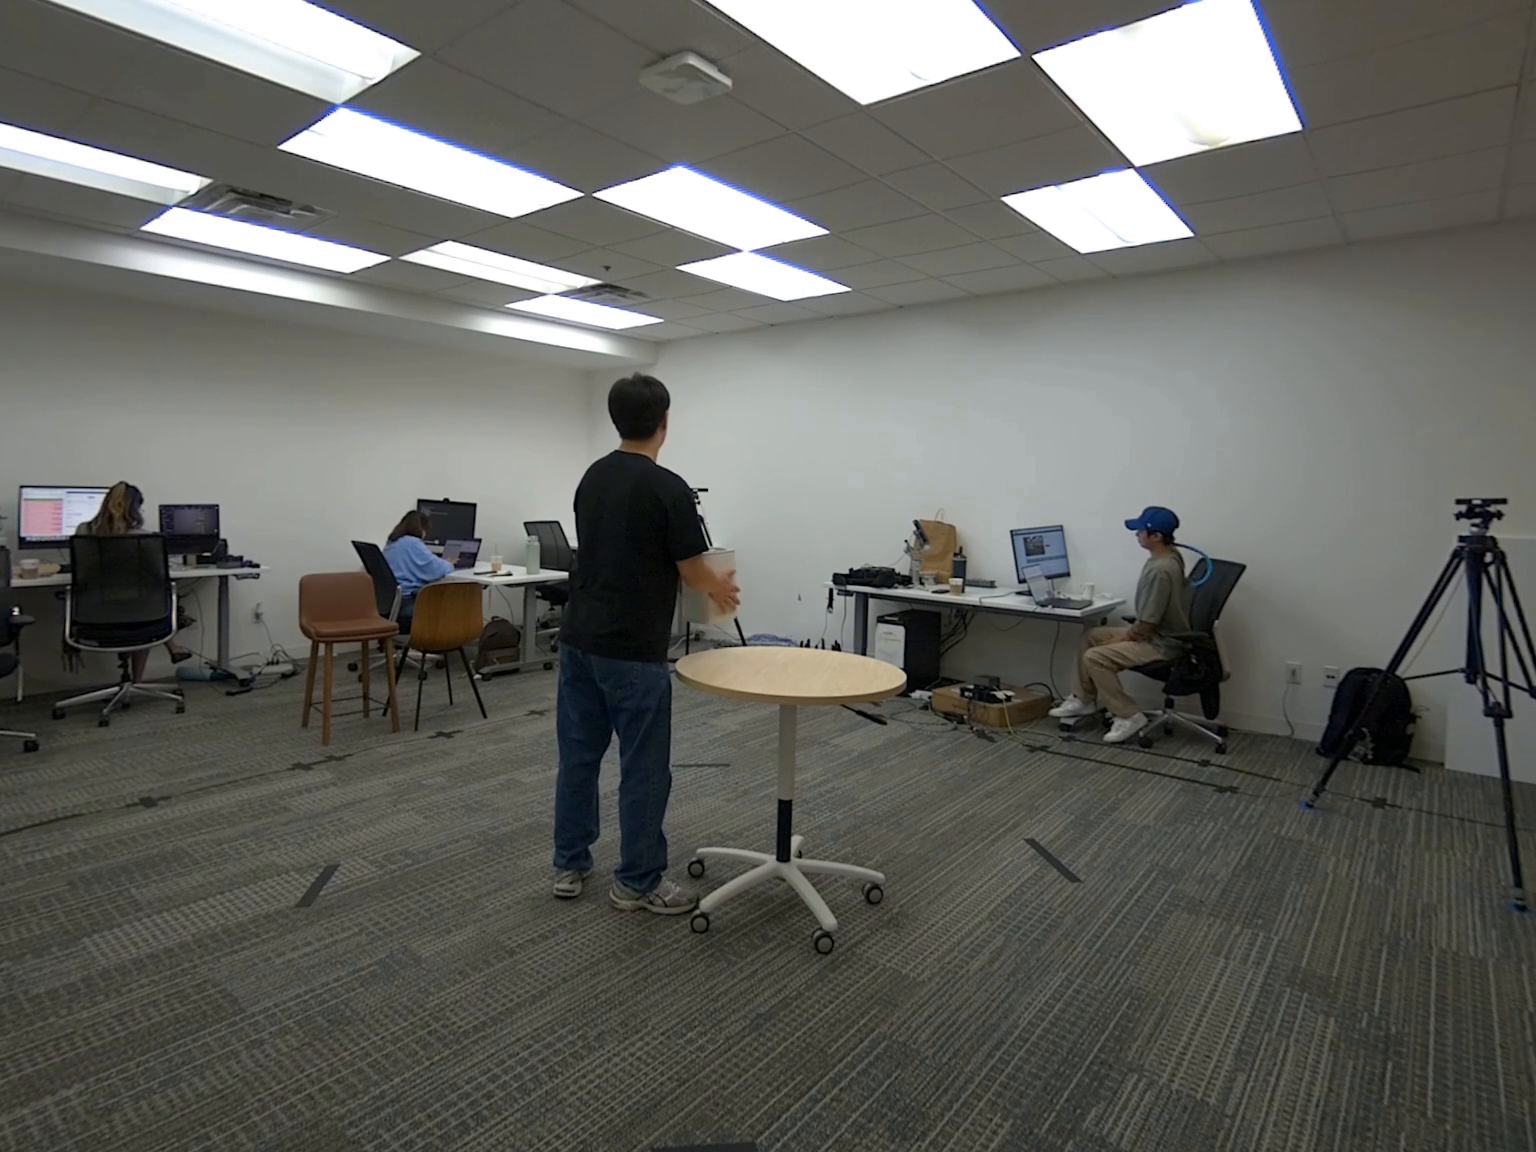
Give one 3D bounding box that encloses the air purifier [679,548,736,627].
[{"bbox_3d":[-0.228,0.035,3.118,0.177,0.263,0.167,6,10,42],"label":"air purifier"}]
